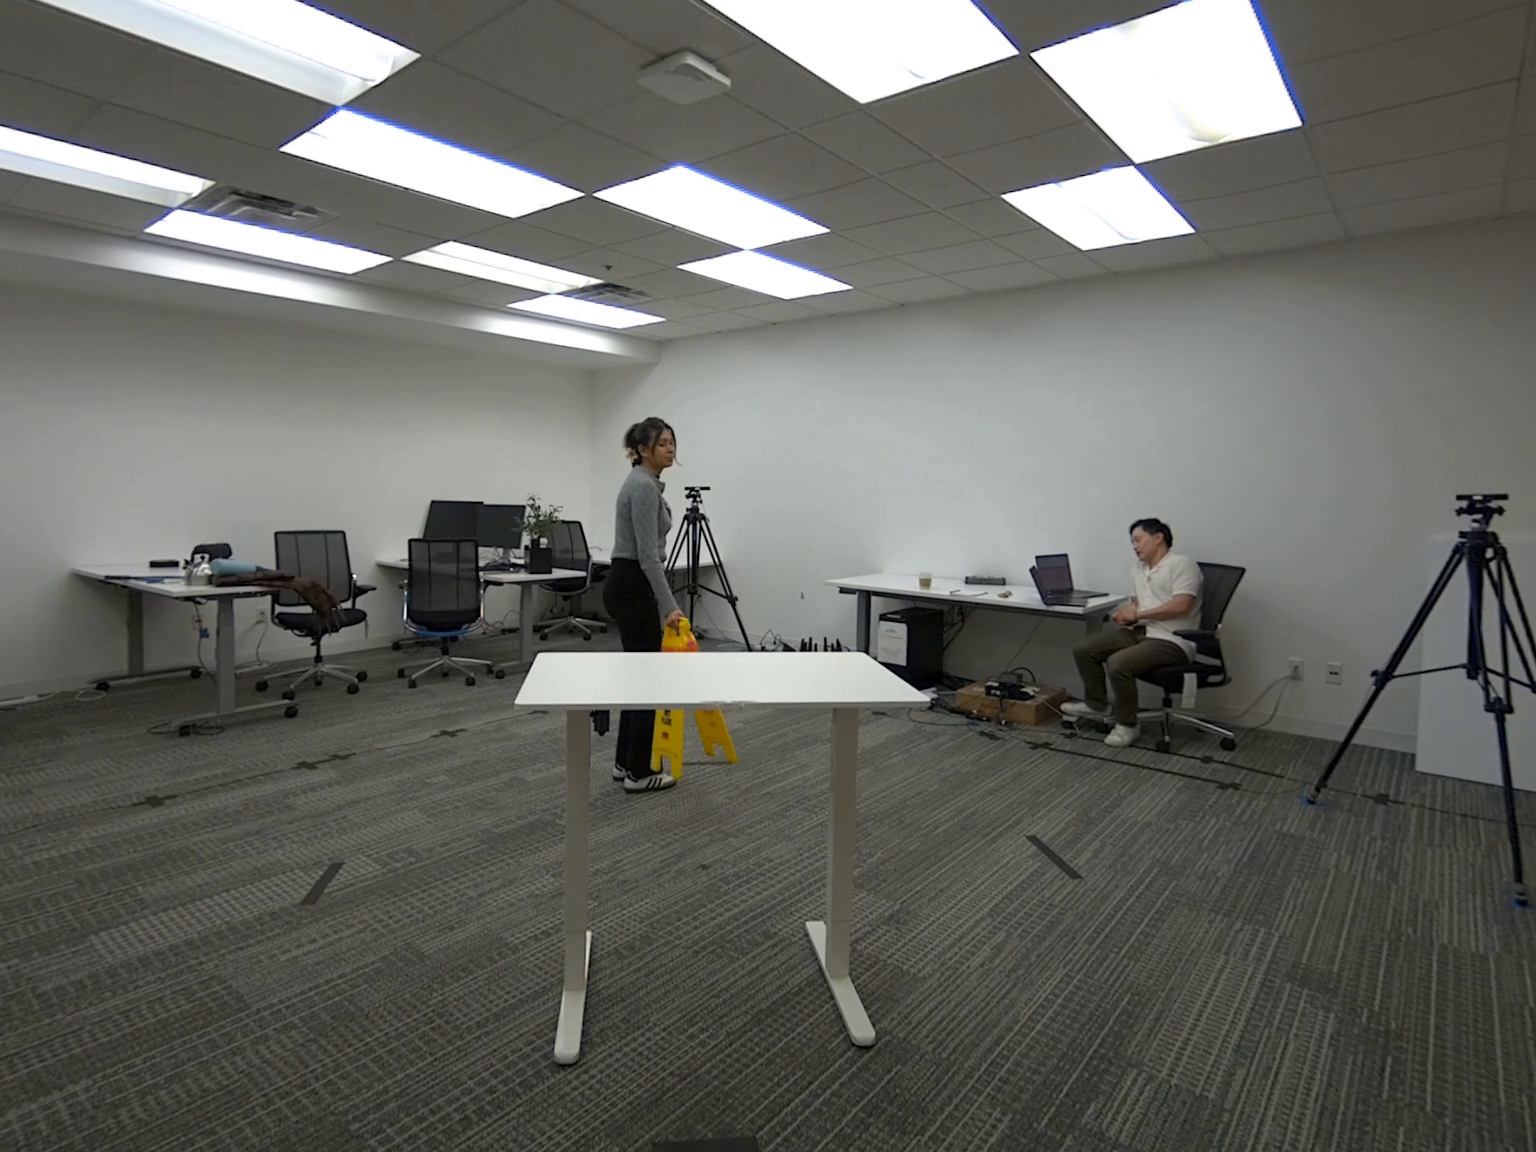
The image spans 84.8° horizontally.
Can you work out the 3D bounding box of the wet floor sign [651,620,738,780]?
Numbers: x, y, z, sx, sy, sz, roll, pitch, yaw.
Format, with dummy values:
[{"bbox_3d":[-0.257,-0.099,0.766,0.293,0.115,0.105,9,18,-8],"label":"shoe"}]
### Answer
[{"bbox_3d":[-0.375,0.503,3.700,0.282,0.647,0.289,-6,-1,-32],"label":"wet floor sign"}]
